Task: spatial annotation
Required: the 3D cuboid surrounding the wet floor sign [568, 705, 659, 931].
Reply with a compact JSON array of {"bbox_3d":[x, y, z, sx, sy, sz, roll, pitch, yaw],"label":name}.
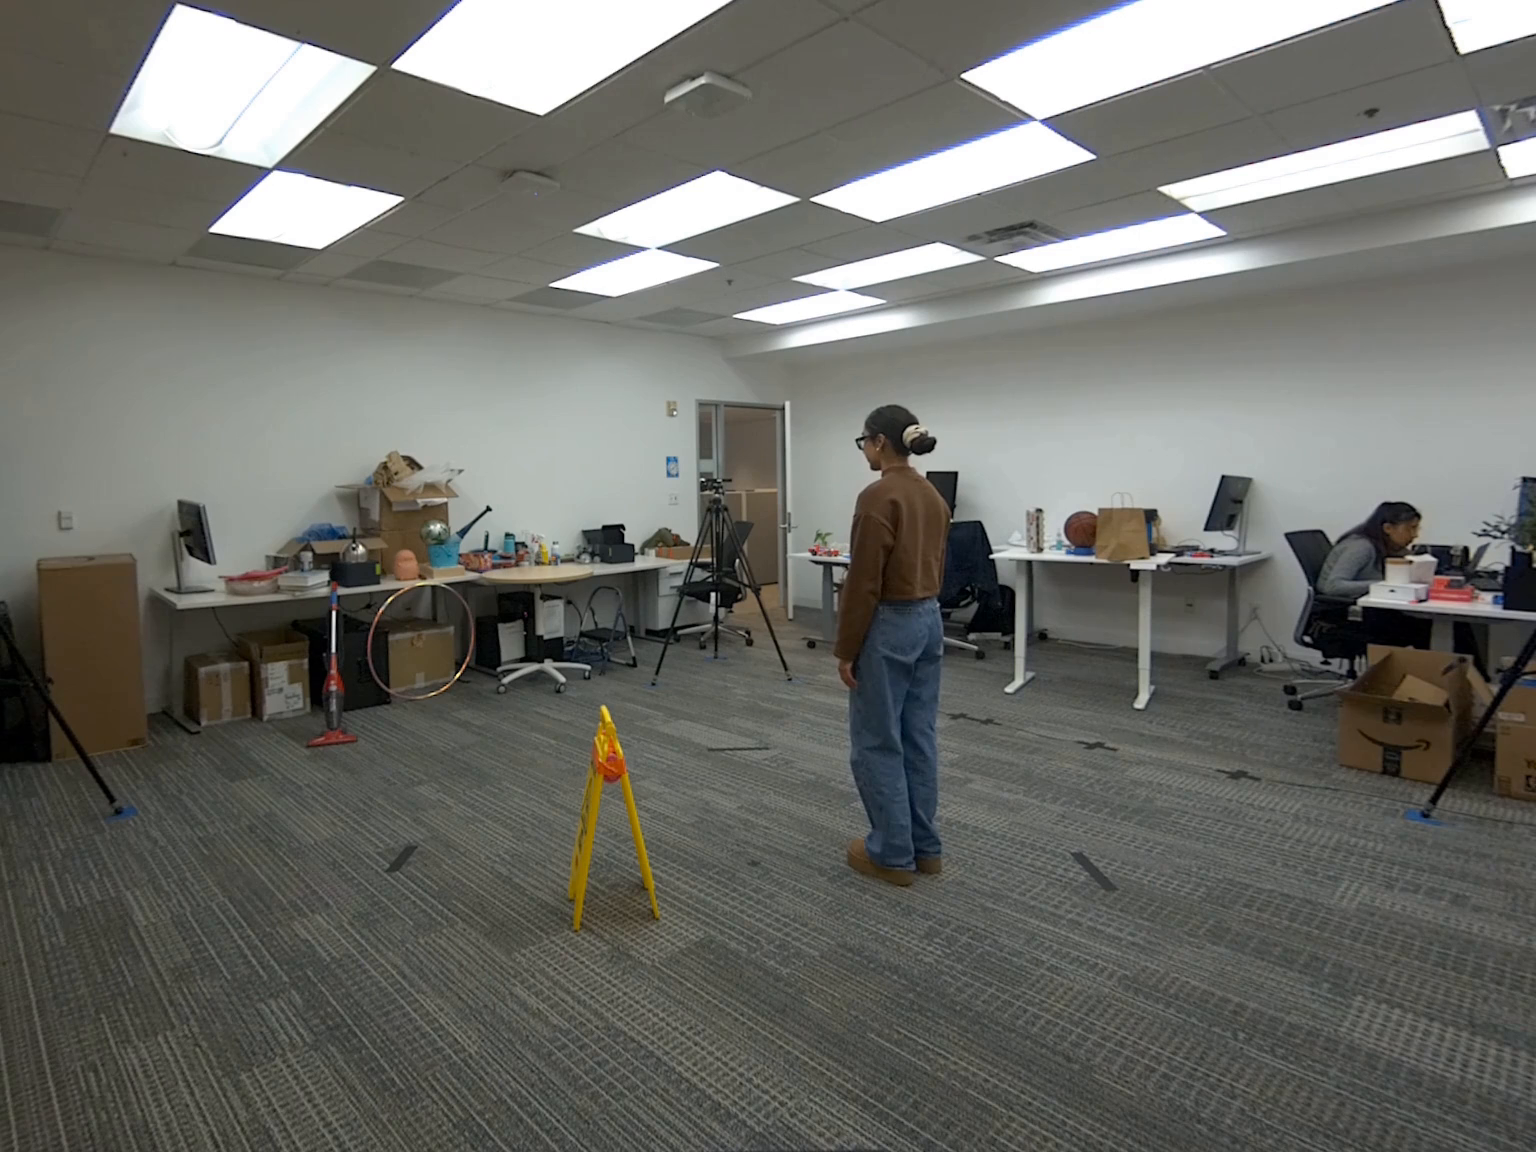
[{"bbox_3d":[-0.516,0.763,2.802,0.286,0.644,0.287,-3,4,-14],"label":"wet floor sign"}]
